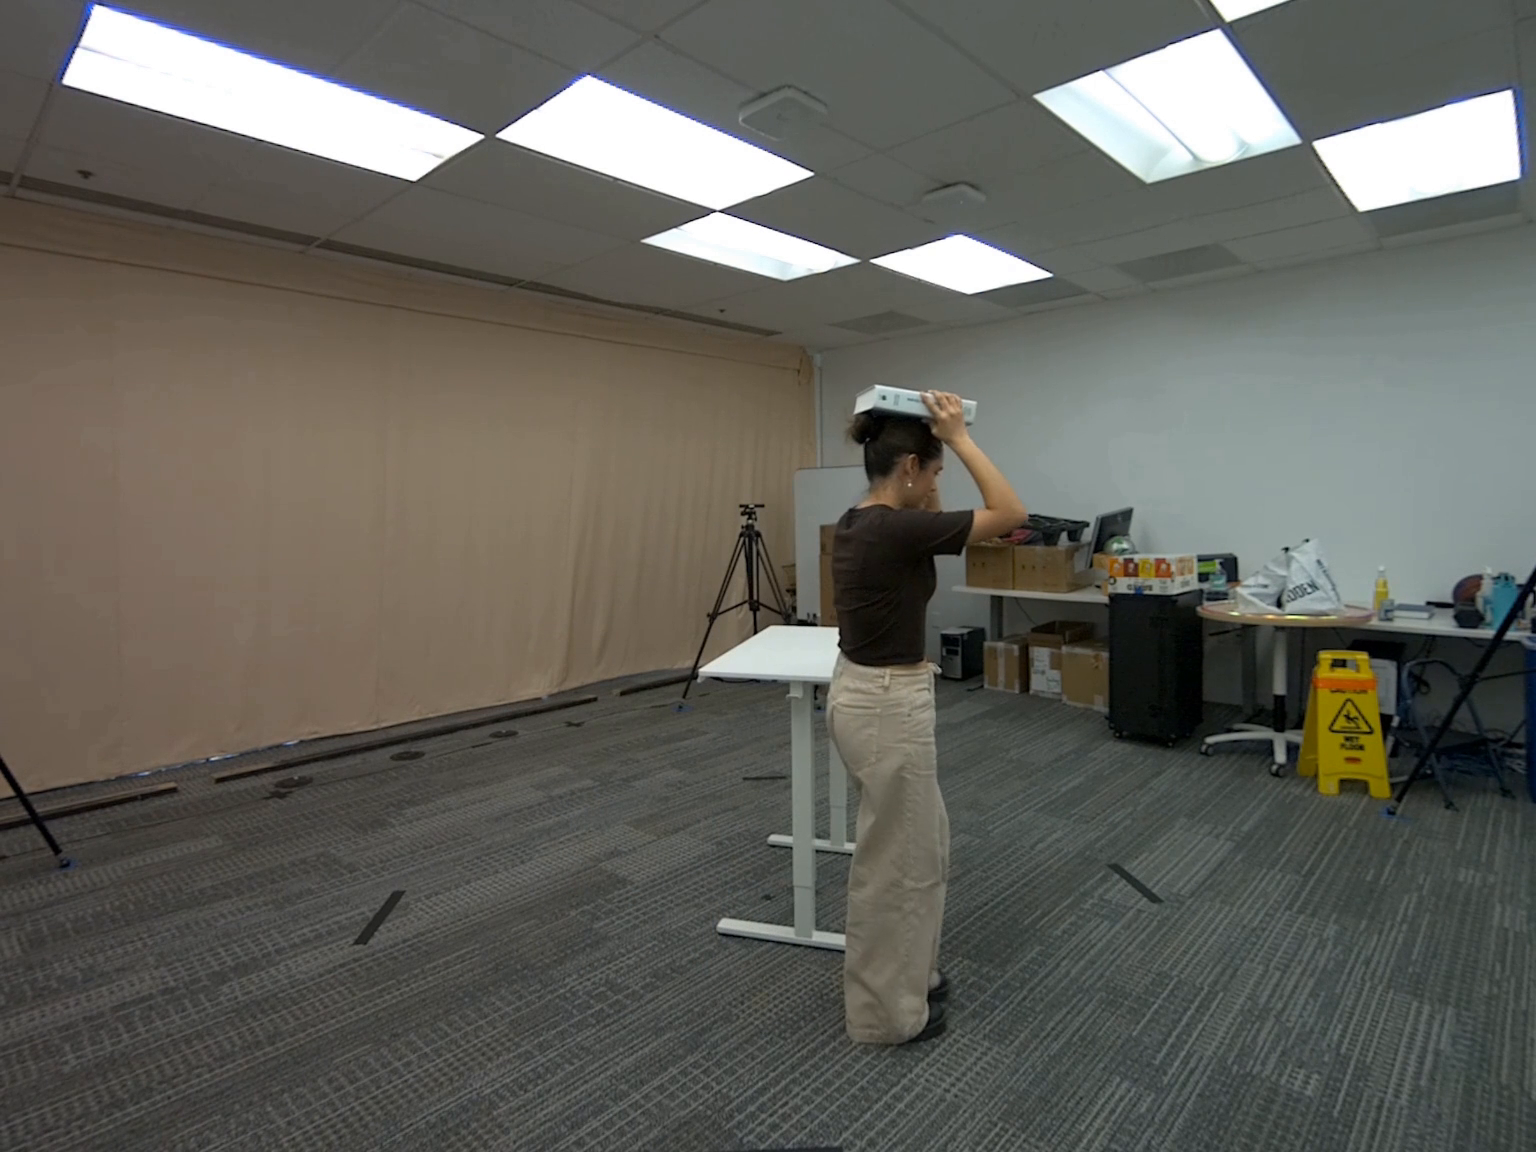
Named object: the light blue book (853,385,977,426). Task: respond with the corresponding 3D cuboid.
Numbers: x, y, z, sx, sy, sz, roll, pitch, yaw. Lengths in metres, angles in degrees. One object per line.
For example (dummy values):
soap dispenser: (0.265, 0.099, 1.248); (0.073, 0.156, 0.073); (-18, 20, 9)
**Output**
light blue book: (0.352, -0.430, 2.151); (0.258, 0.059, 0.193); (8, 2, -9)
